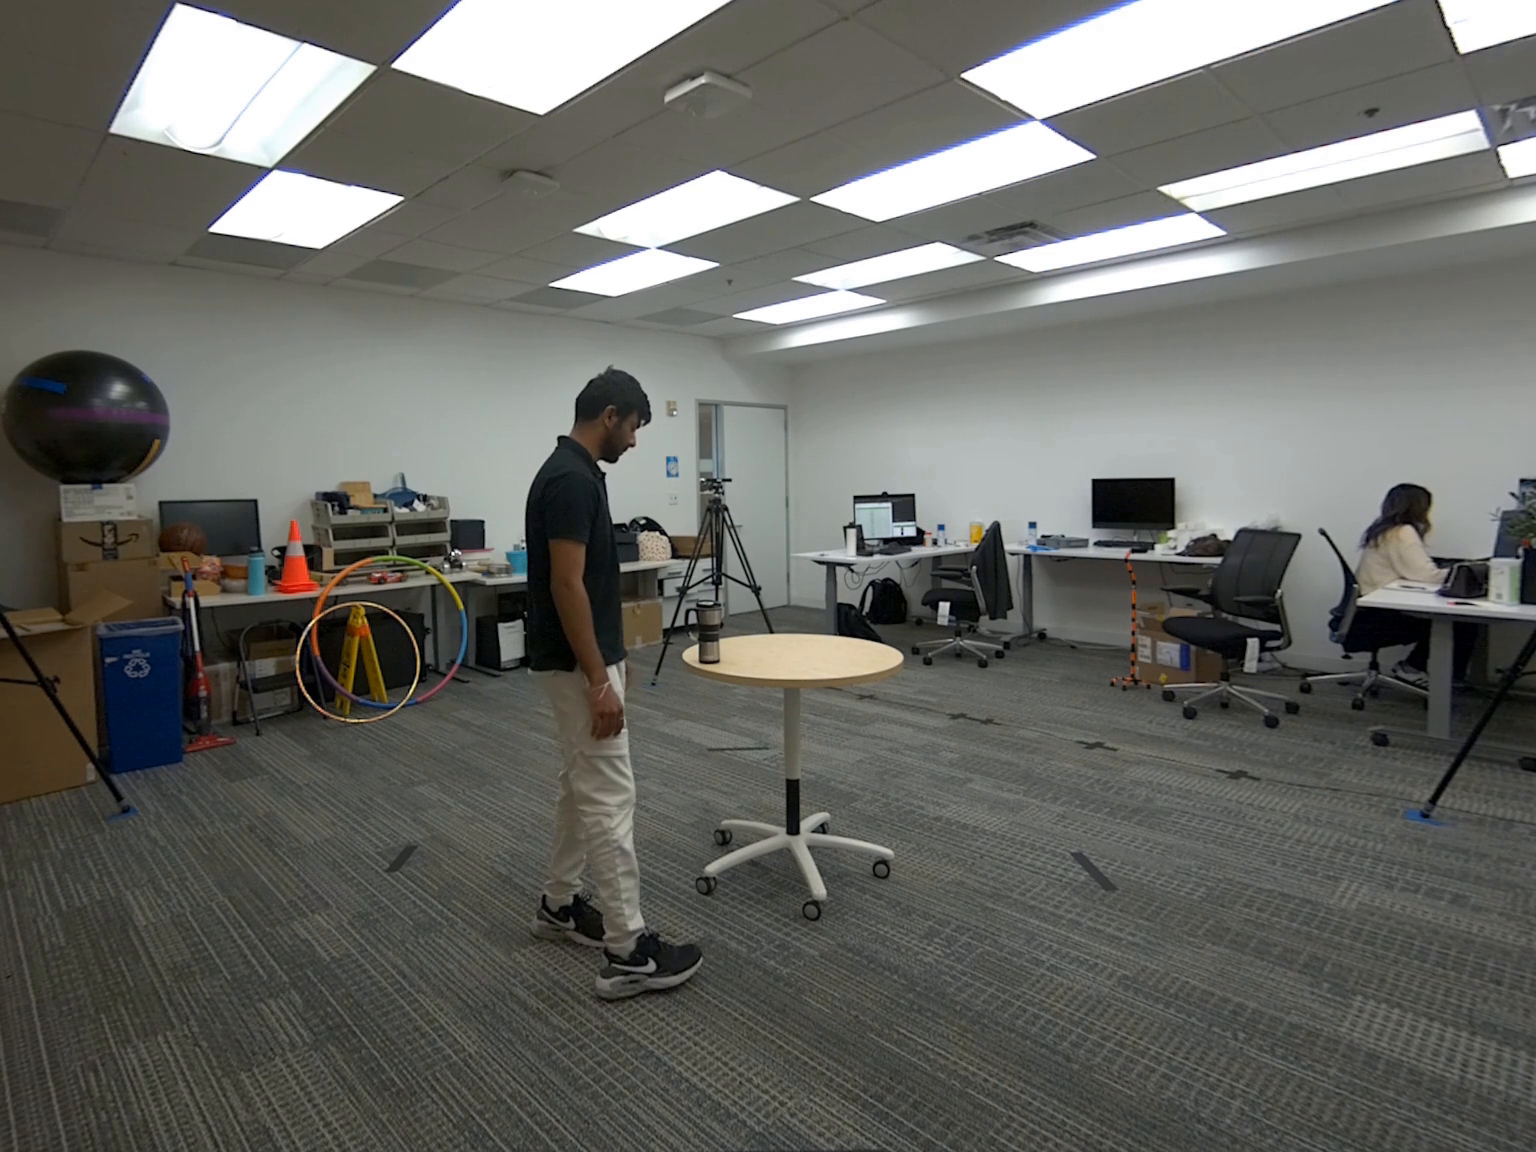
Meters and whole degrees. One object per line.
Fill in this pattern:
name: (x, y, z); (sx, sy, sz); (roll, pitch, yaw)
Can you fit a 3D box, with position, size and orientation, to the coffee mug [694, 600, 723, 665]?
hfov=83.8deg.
coffee mug: (-0.214, 0.188, 2.865); (0.125, 0.201, 0.086); (6, 9, 30)
